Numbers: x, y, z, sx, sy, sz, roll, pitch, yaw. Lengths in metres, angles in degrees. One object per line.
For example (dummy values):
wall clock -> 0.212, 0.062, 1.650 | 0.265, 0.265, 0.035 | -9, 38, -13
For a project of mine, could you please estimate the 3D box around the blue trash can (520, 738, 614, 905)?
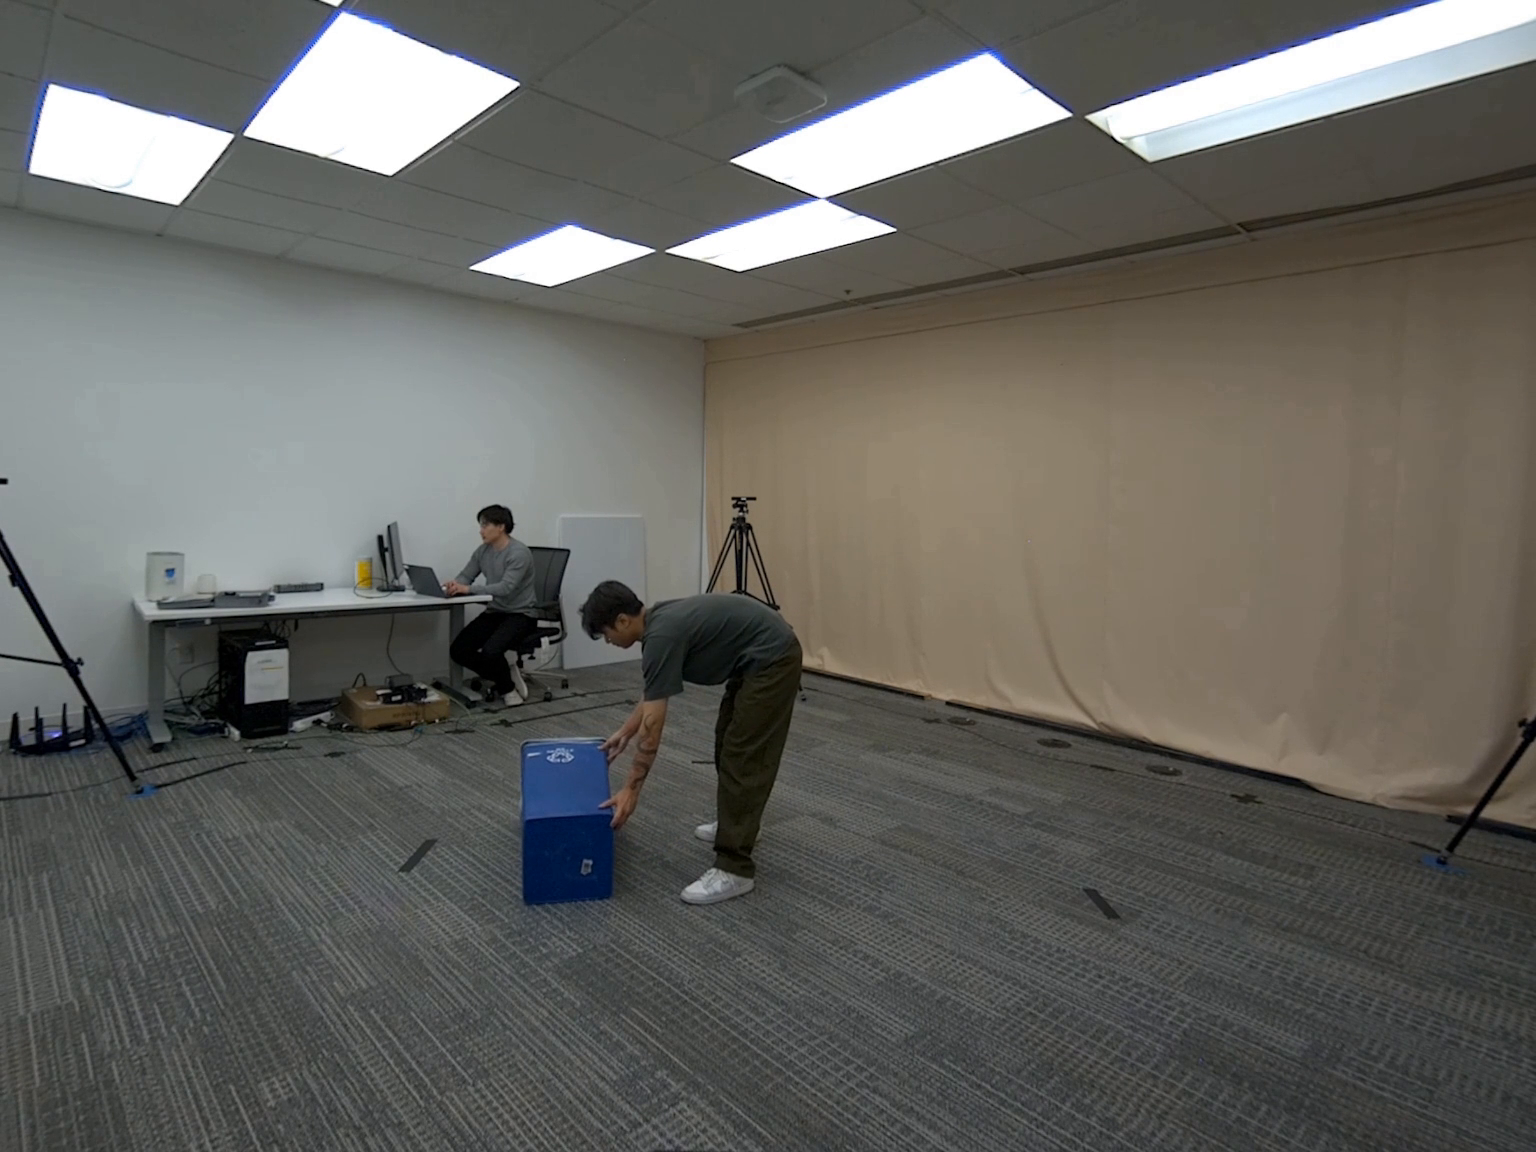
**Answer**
blue trash can -> -0.770, 0.906, 3.201 | 0.374, 0.372, 0.724 | 1, 6, -15
